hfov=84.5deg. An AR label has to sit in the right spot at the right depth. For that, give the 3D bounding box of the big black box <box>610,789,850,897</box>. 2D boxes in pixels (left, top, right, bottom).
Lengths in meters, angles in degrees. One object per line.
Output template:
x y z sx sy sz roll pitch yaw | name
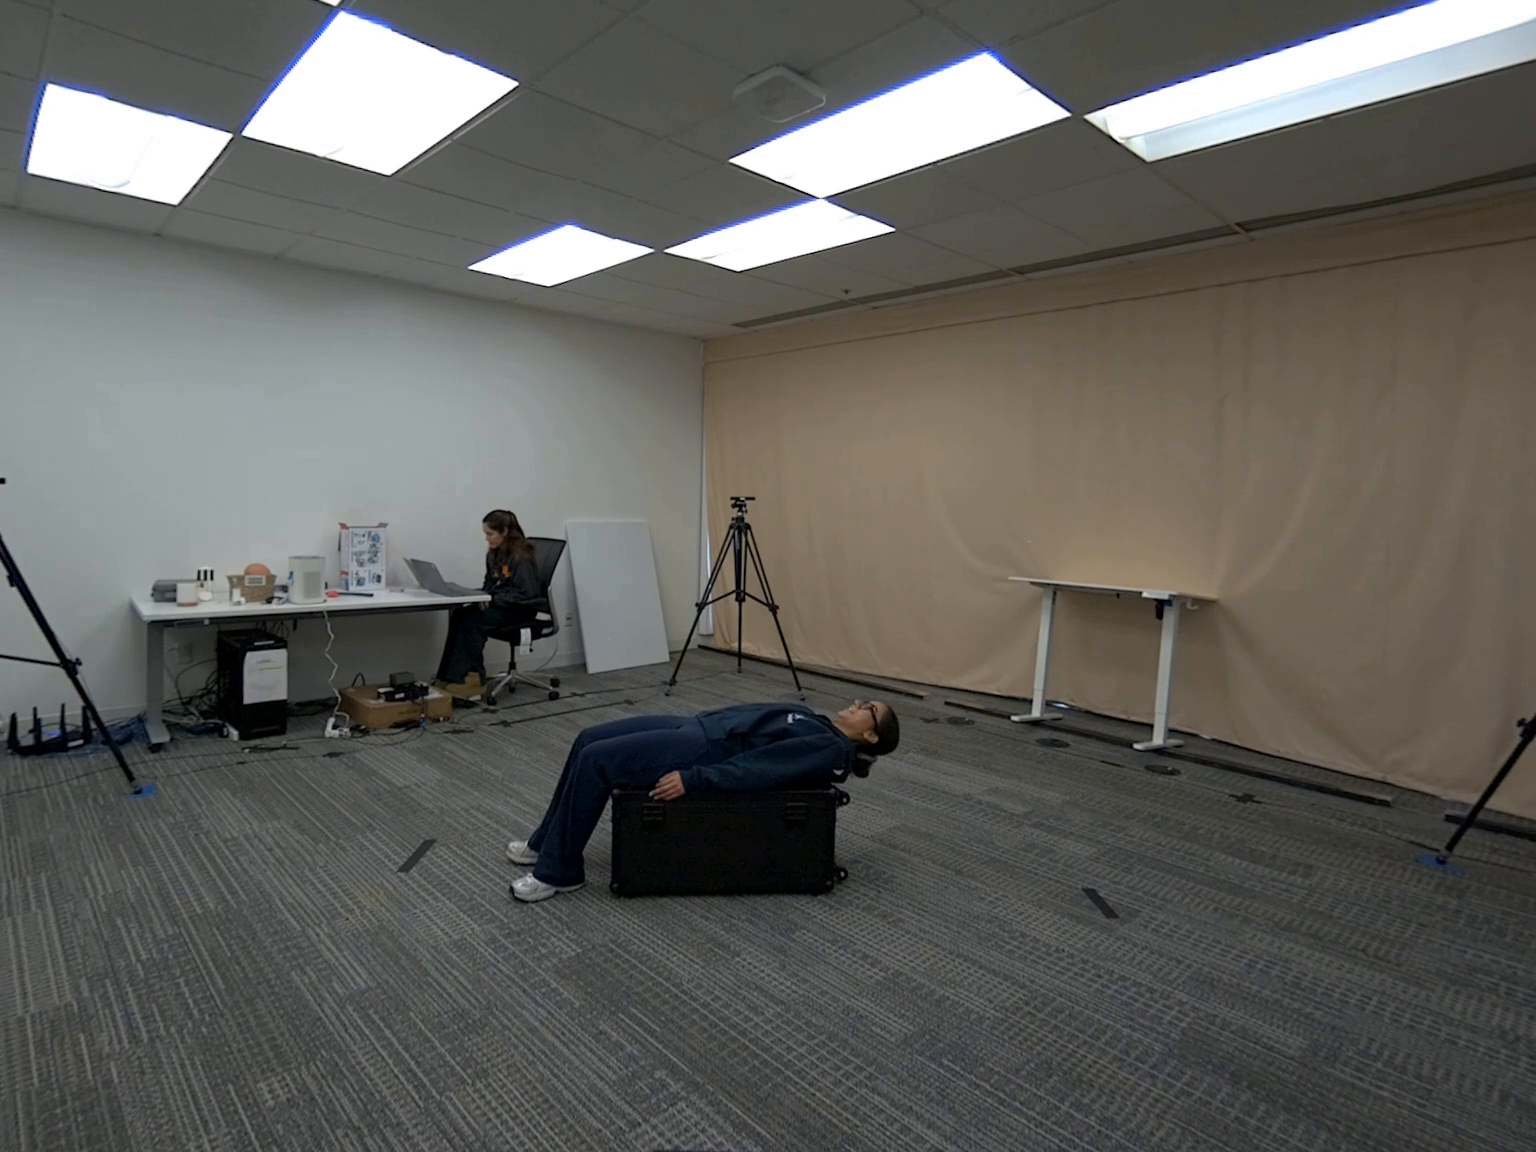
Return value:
-0.147 0.910 3.156 0.857 0.395 0.525 1 3 -6 | big black box
